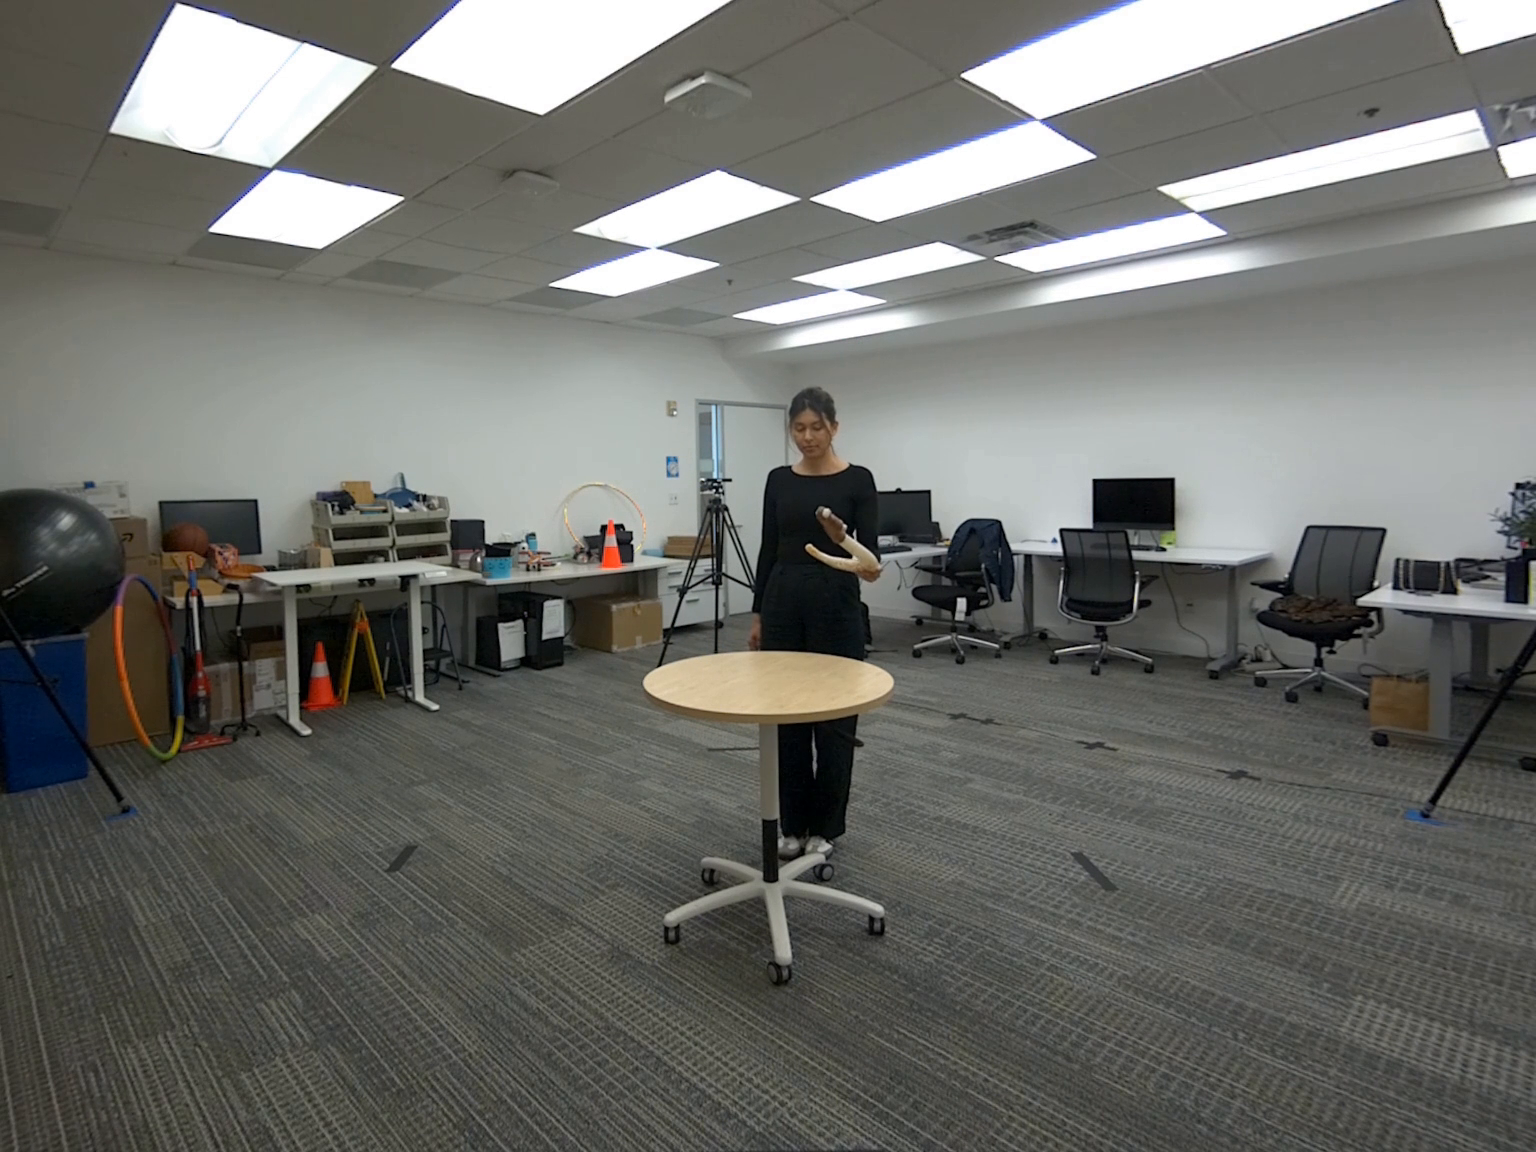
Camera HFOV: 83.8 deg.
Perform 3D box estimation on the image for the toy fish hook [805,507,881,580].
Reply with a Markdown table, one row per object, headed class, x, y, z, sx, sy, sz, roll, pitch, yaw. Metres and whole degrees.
| class | x | y | z | sx | sy | sz | roll | pitch | yaw |
| --- | --- | --- | --- | --- | --- | --- | --- | --- | --- |
| toy fish hook | 0.189 | -0.100 | 2.595 | 0.230 | 0.049 | 0.490 | 7 | -18 | 21 |
